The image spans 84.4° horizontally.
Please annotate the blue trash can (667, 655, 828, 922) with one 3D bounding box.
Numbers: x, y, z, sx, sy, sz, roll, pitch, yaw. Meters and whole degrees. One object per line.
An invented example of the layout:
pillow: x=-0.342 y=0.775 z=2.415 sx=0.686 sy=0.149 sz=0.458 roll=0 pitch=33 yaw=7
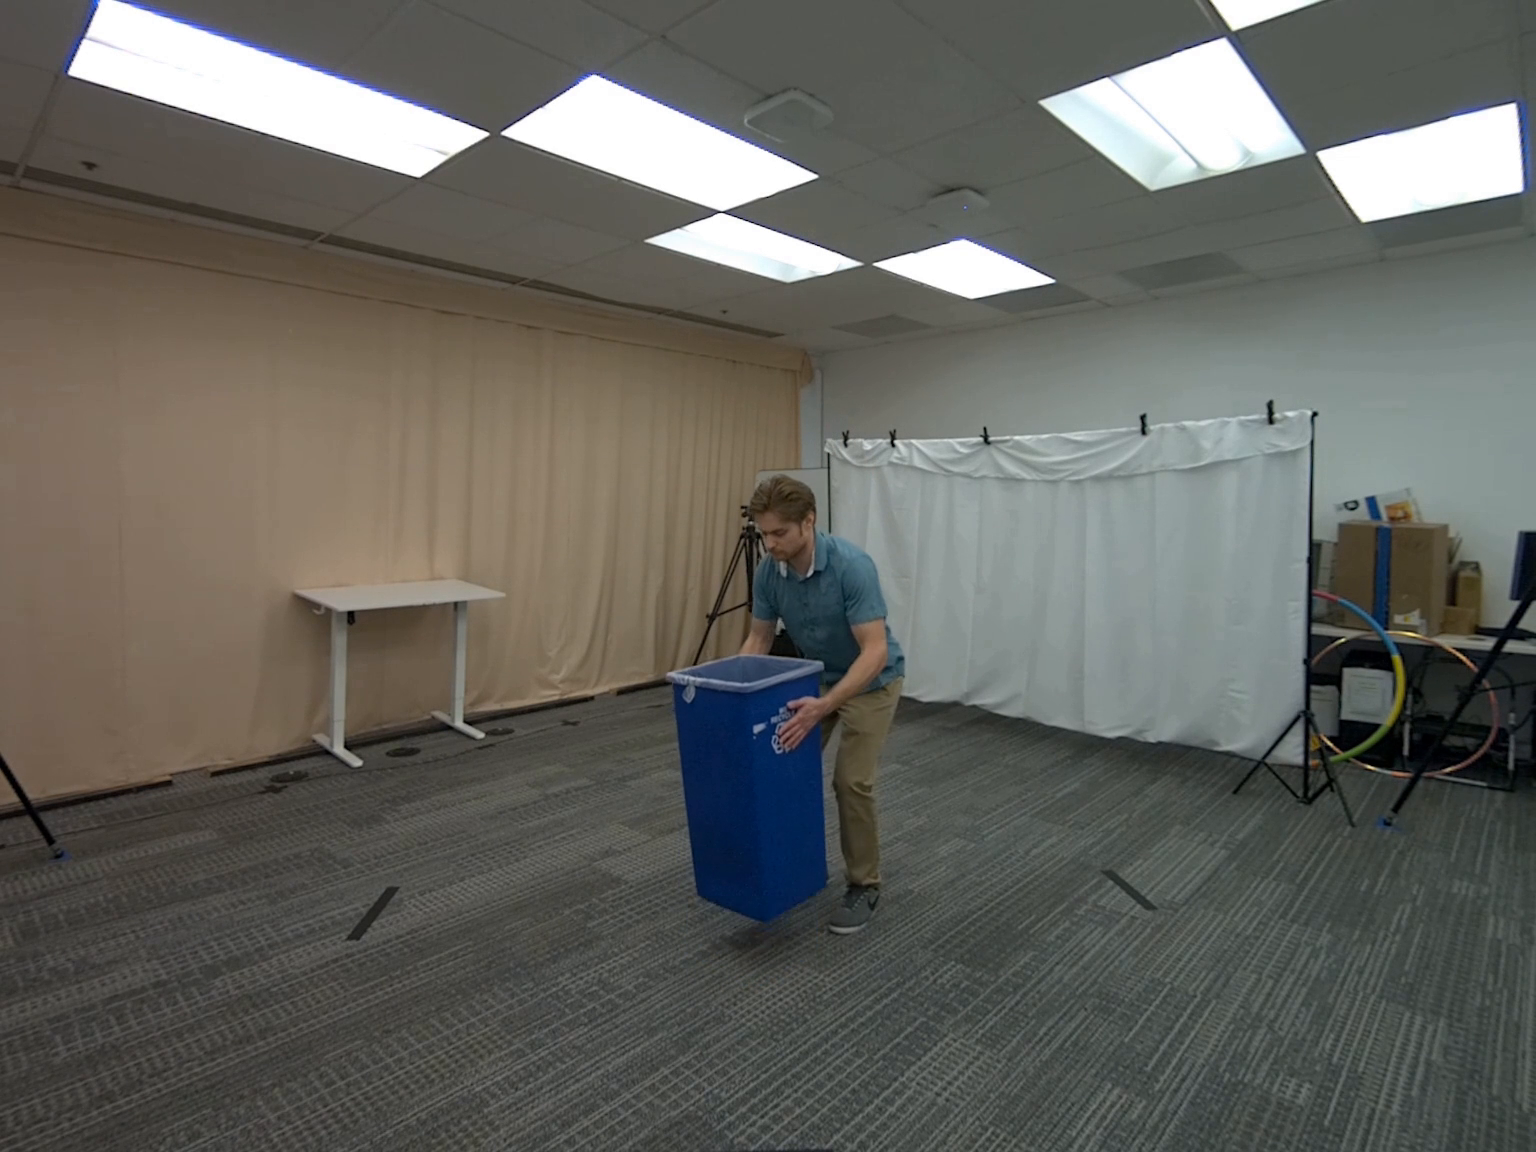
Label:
blue trash can: x=-0.055 y=0.643 z=2.632 sx=0.386 sy=0.711 sz=0.367 roll=1 pitch=6 yaw=43
